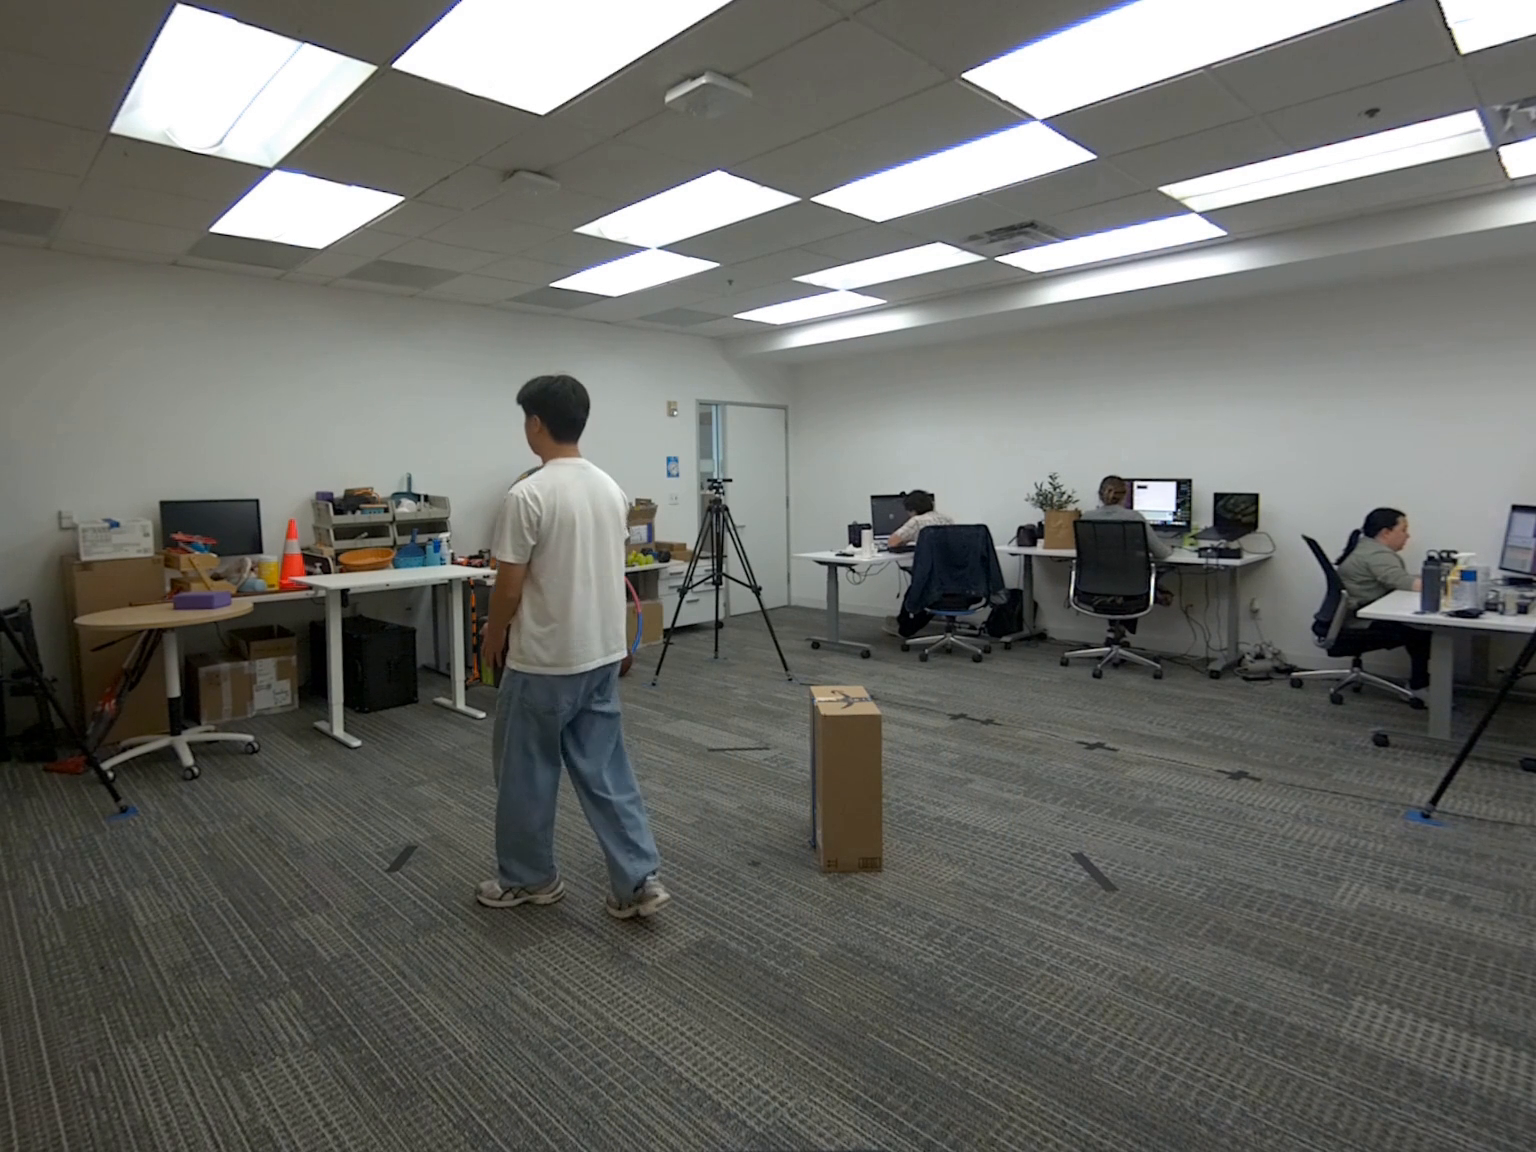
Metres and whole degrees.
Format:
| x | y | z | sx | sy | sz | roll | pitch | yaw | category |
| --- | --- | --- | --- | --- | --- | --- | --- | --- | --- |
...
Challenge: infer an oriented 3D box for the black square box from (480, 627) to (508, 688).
| x | y | z | sx | sy | sz | roll | pitch | yaw | category |
| --- | --- | --- | --- | --- | --- | --- | --- | --- | --- |
| -0.867 | 0.249 | 2.947 | 0.160 | 0.227 | 0.212 | 2 | 7 | 33 | black square box |
